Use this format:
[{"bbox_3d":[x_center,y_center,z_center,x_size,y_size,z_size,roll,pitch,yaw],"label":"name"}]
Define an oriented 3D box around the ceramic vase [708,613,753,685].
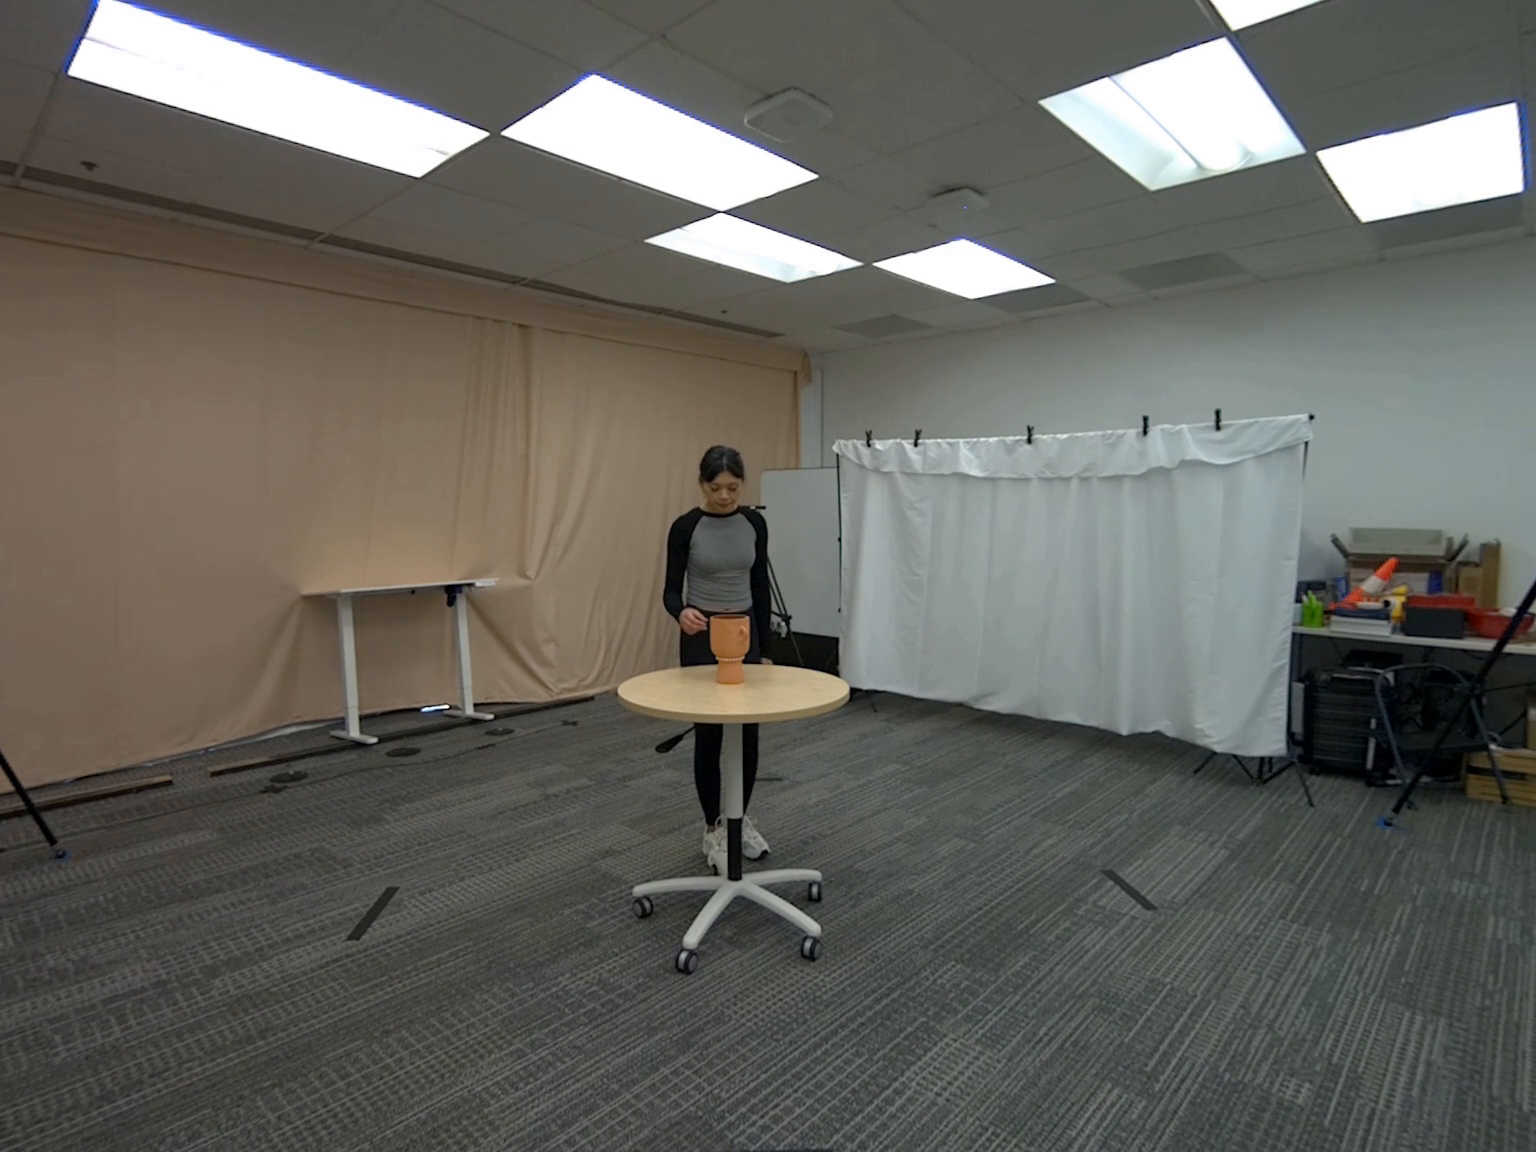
[{"bbox_3d":[-0.128,0.249,2.871,0.135,0.219,0.158,0,4,3],"label":"ceramic vase"}]
